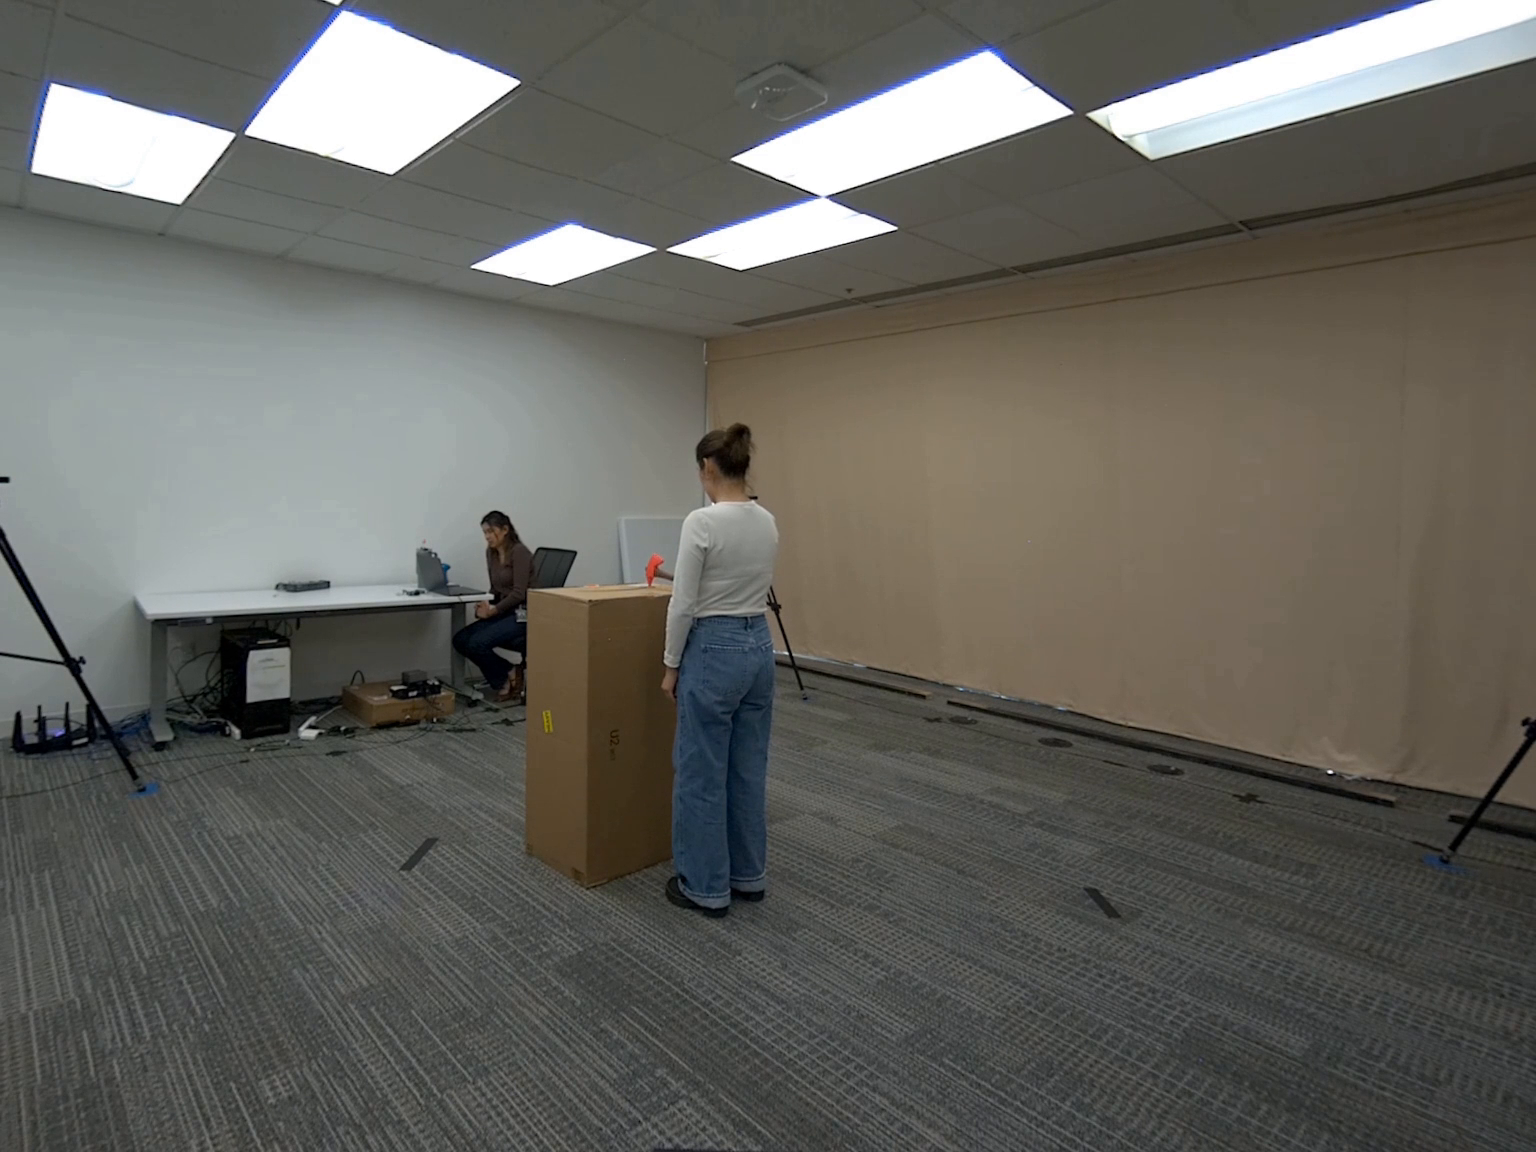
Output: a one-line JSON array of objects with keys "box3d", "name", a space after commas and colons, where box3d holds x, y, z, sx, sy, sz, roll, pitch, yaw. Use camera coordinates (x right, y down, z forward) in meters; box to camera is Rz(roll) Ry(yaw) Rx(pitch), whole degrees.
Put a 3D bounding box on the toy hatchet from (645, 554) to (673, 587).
[{"box3d": [-0.385, -0.035, 3.285, 0.276, 0.131, 0.029, -5, -5, 36], "name": "toy hatchet"}]
